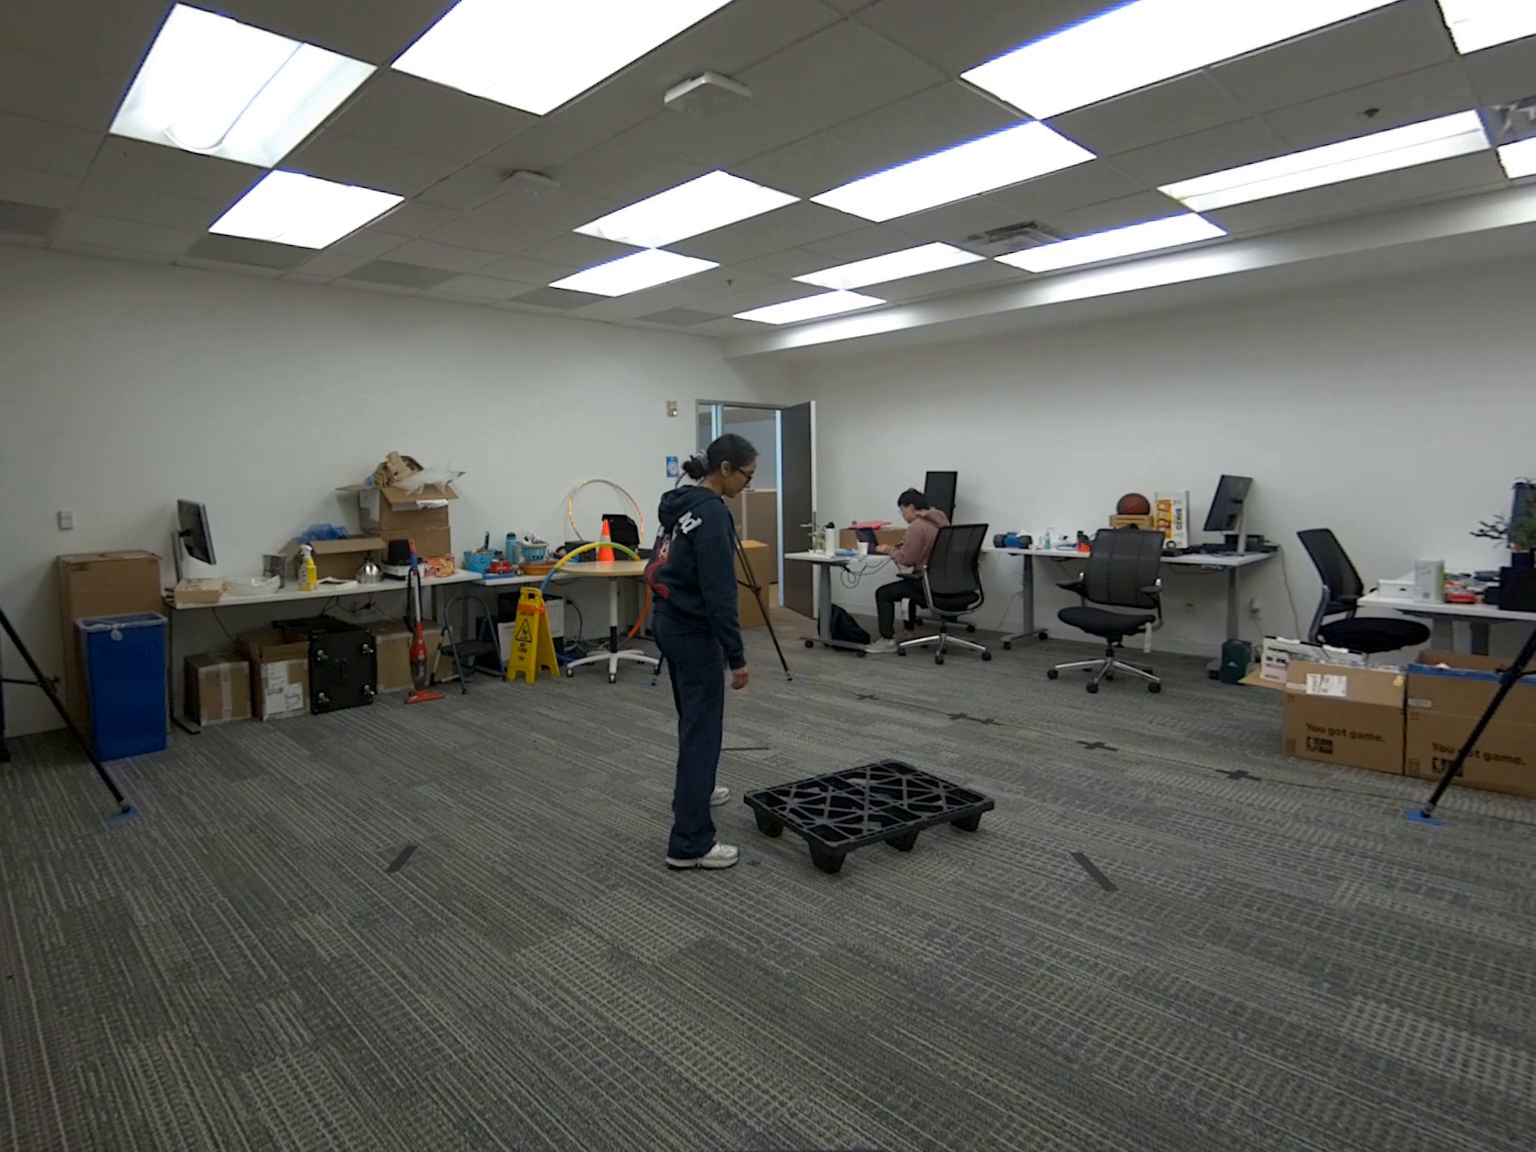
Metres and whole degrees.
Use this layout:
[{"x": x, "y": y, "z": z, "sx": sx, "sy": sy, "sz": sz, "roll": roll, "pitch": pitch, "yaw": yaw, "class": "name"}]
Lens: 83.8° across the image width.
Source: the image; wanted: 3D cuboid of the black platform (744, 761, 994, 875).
[{"x": 0.389, "y": 0.938, "z": 3.383, "sx": 0.786, "sy": 0.143, "sz": 0.622, "roll": -5, "pitch": 7, "yaw": -31, "class": "black platform"}]
